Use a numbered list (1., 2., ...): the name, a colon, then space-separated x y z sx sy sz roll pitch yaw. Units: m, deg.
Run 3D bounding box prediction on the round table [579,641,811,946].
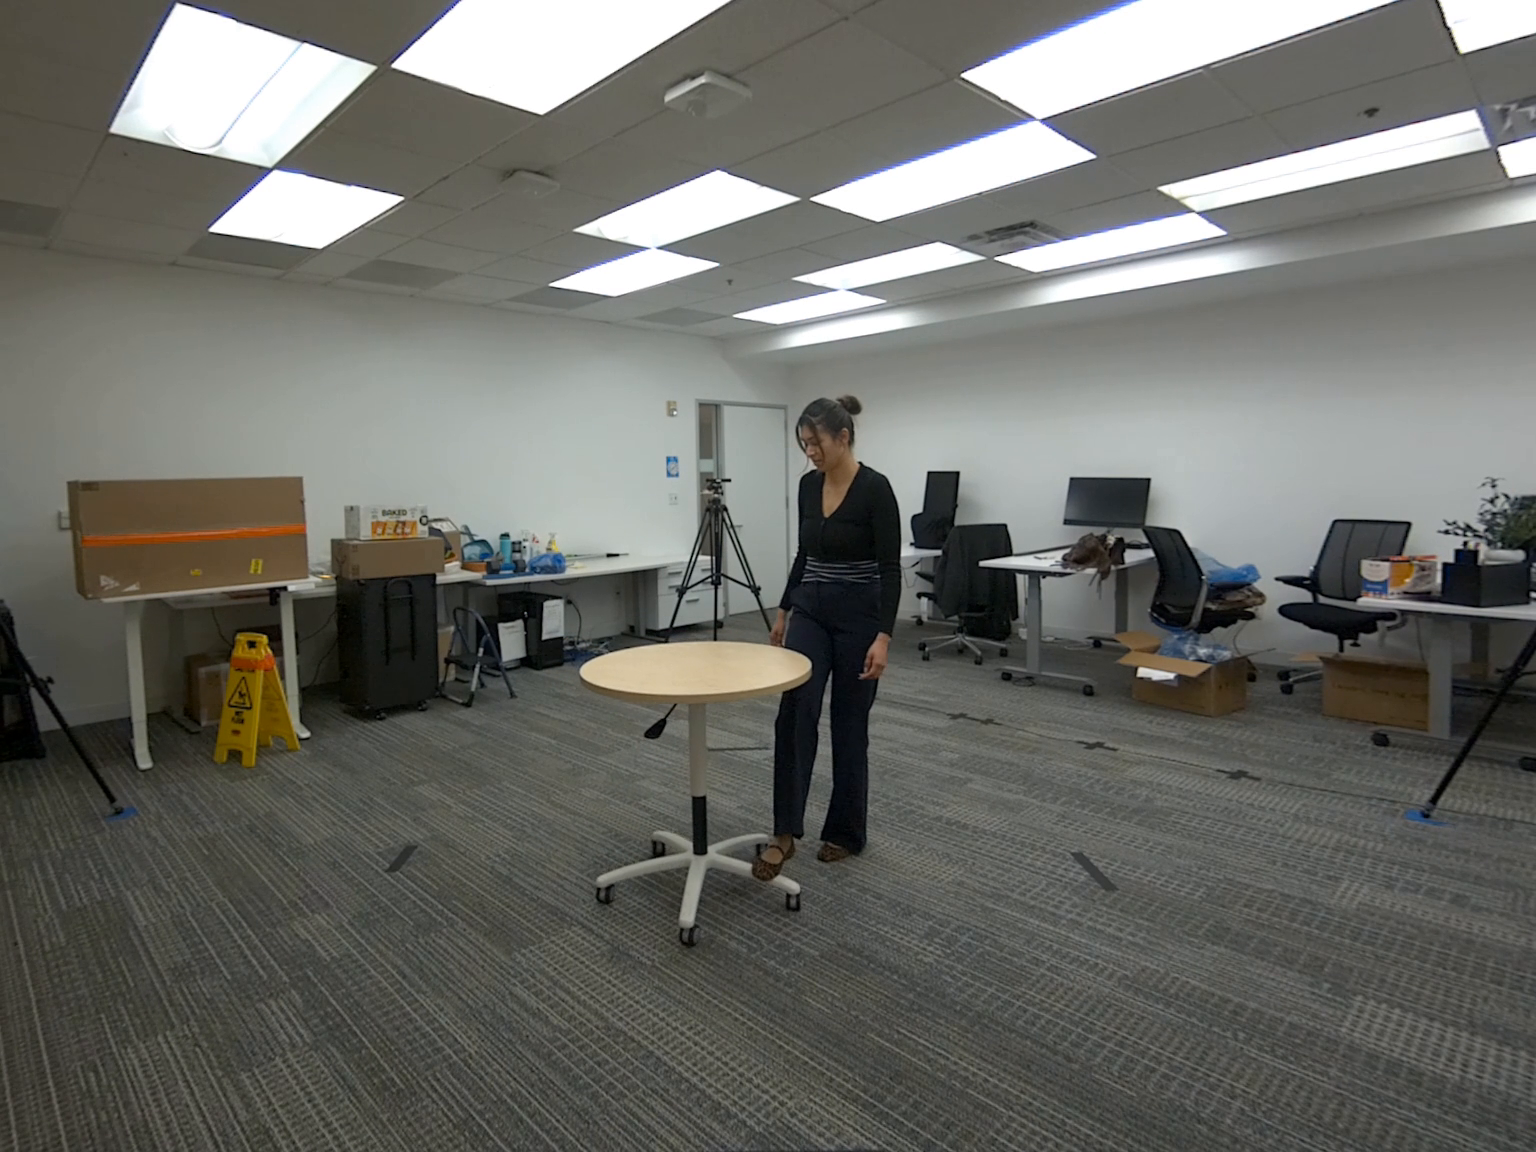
1. round table: -0.229 0.687 2.864 0.763 0.790 0.768 -2 6 -1
